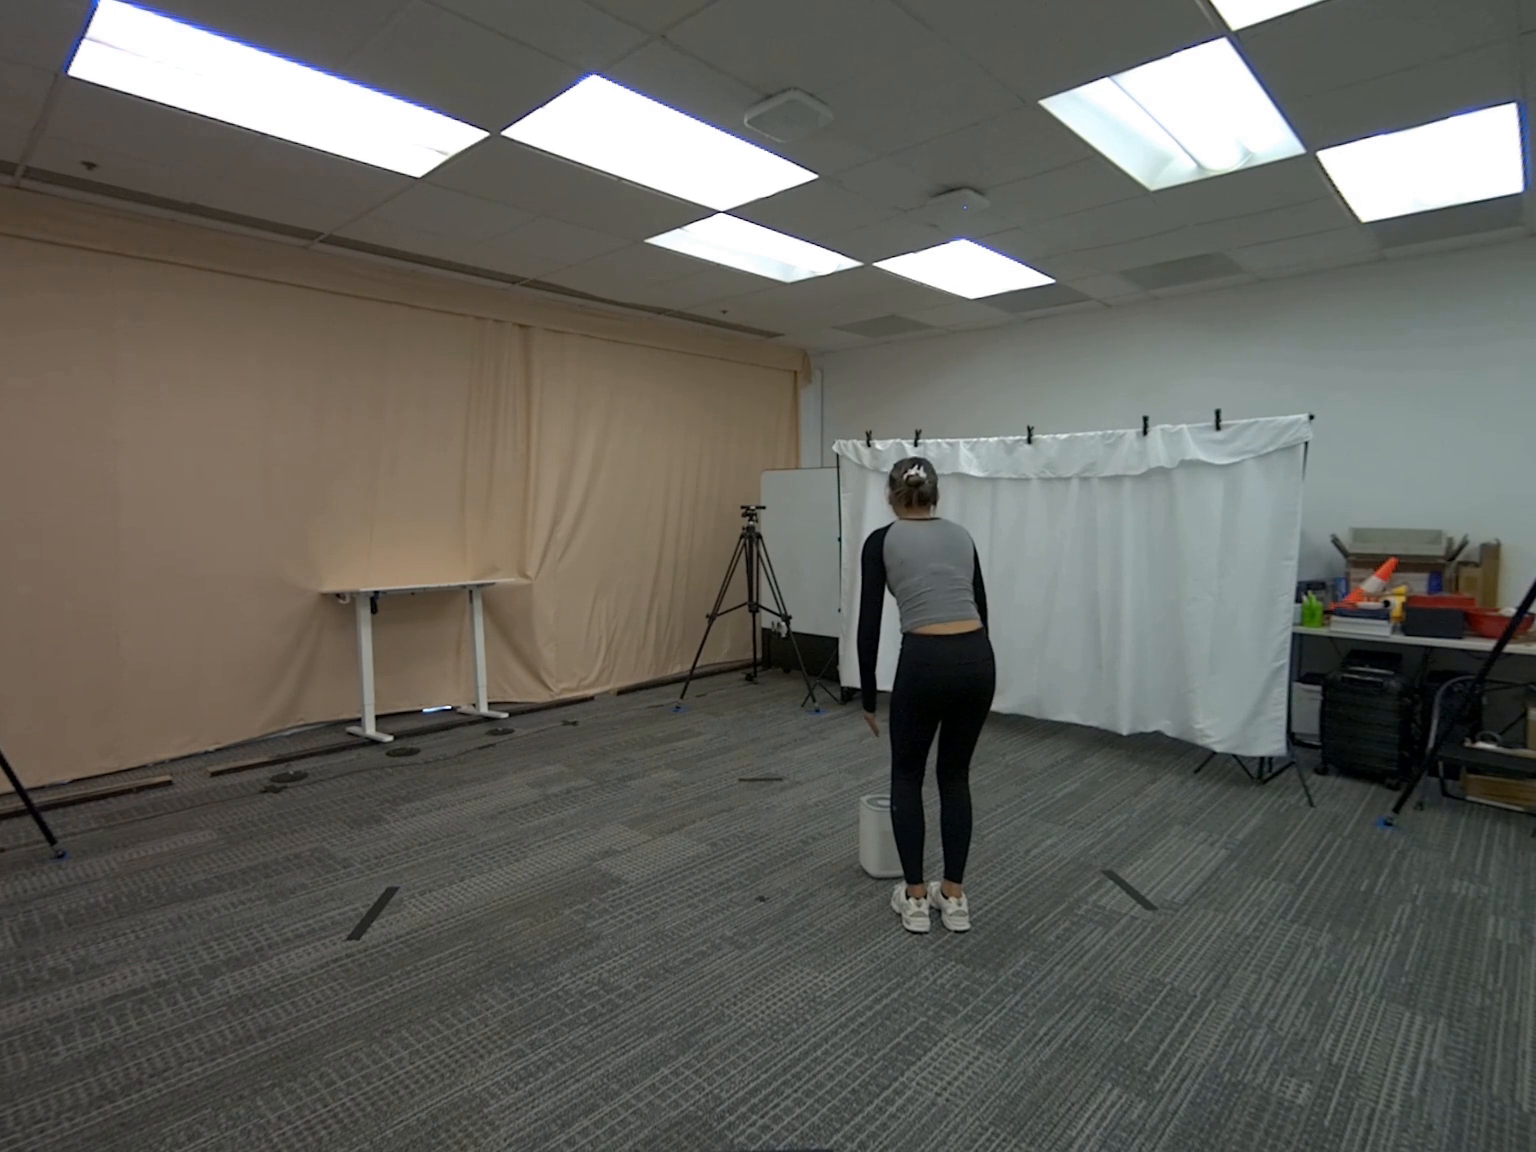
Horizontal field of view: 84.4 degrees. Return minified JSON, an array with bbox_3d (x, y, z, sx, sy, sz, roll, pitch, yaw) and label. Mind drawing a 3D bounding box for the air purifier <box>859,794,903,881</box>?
[{"bbox_3d":[0.449,0.988,3.197,0.169,0.265,0.173,0,2,-13],"label":"air purifier"}]
